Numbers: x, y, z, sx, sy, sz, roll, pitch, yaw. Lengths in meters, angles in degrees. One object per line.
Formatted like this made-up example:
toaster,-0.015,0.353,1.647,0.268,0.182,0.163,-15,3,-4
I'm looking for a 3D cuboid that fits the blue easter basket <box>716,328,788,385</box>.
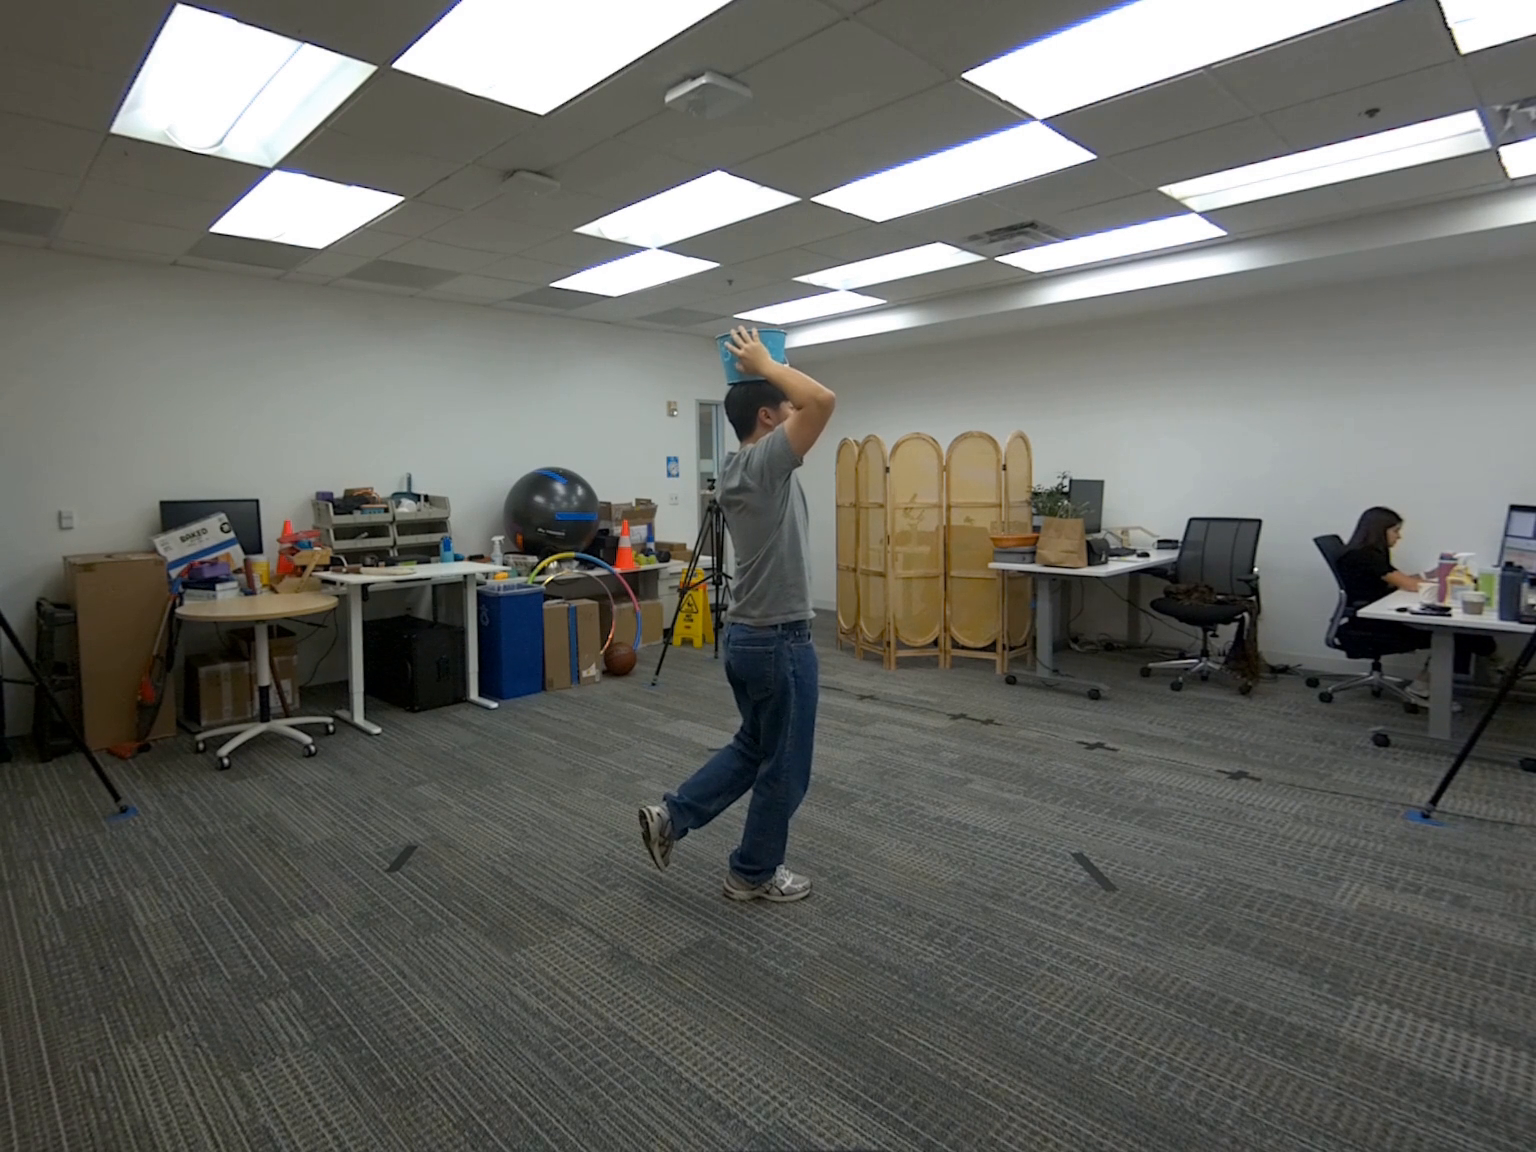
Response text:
blue easter basket,-0.045,-0.704,2.772,0.243,0.155,0.245,-6,6,-1
